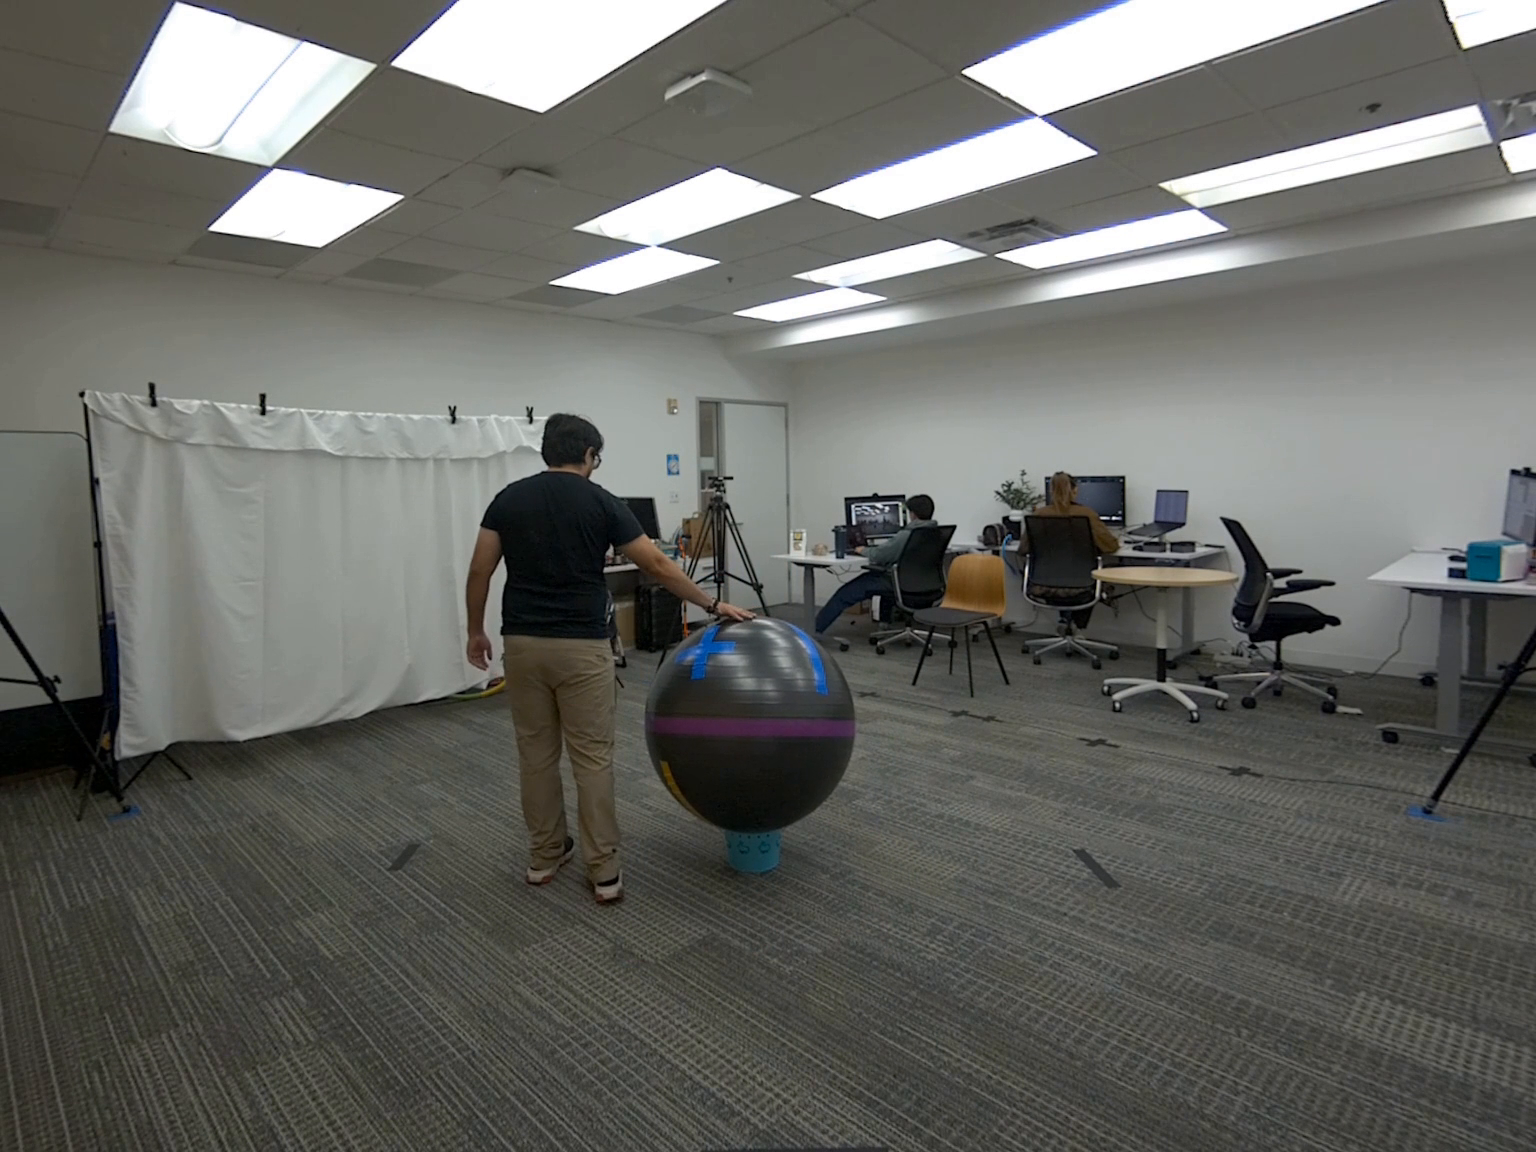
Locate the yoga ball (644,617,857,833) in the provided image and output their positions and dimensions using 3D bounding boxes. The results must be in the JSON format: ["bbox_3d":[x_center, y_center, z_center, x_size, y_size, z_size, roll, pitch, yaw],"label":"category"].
[{"bbox_3d":[-0.067,0.532,3.093,0.757,0.755,0.762,-1,5,-2],"label":"yoga ball"}]
